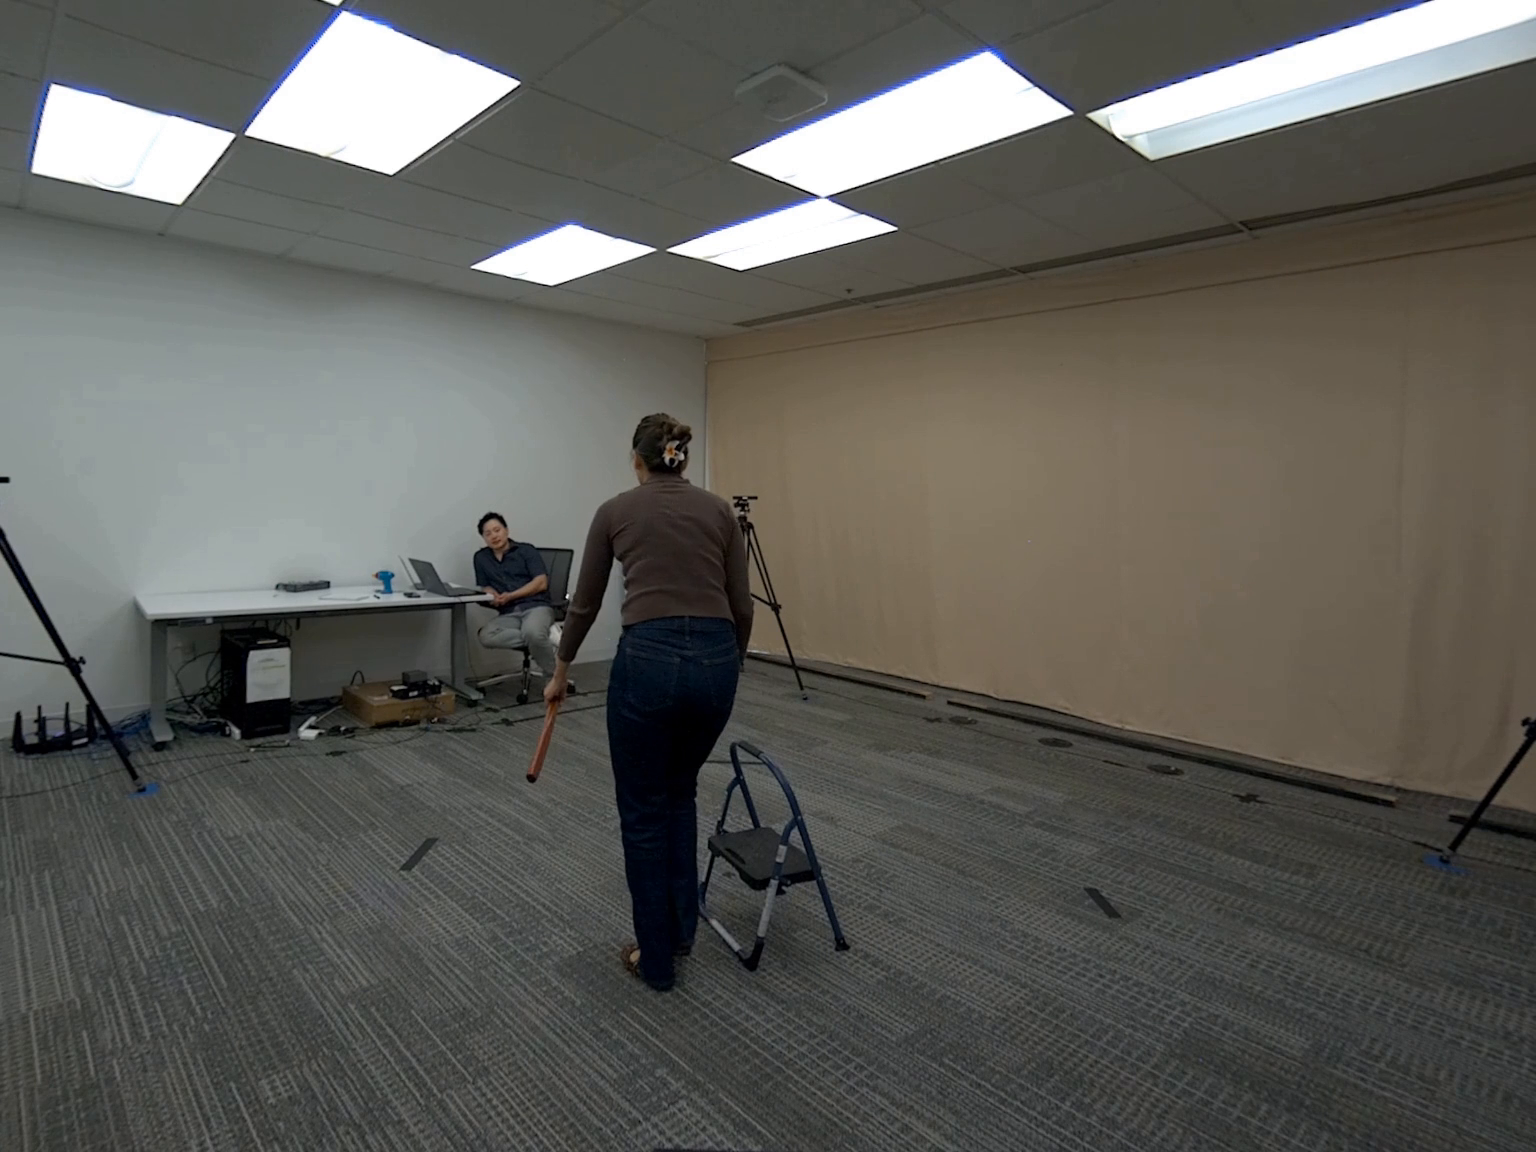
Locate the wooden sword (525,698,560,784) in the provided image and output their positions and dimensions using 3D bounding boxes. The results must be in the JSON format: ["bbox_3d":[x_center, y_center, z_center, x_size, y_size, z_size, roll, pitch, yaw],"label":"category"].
[{"bbox_3d":[-0.704,0.393,2.715,0.024,0.050,1.041,-23,19,2],"label":"wooden sword"}]
